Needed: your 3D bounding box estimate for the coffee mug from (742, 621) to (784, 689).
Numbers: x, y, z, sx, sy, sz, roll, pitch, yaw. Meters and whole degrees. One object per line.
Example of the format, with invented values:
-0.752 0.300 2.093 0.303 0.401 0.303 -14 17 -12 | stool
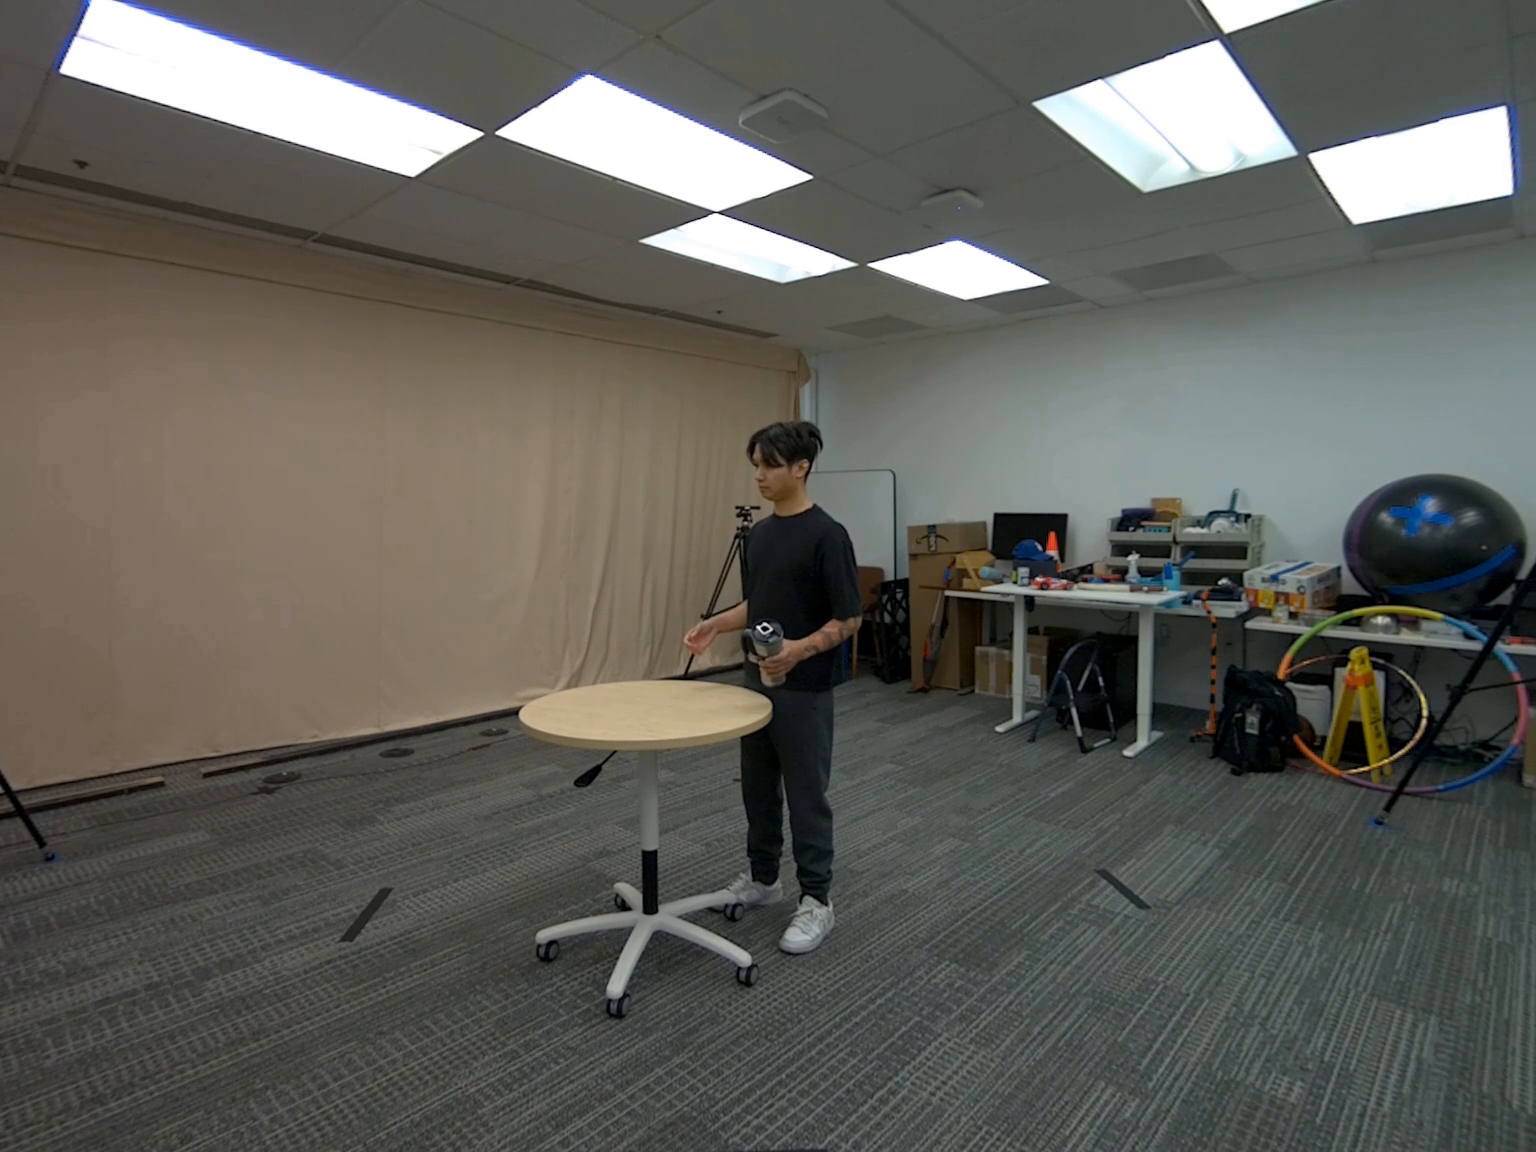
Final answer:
-0.016 0.221 2.460 0.126 0.198 0.087 20 47 33 | coffee mug
